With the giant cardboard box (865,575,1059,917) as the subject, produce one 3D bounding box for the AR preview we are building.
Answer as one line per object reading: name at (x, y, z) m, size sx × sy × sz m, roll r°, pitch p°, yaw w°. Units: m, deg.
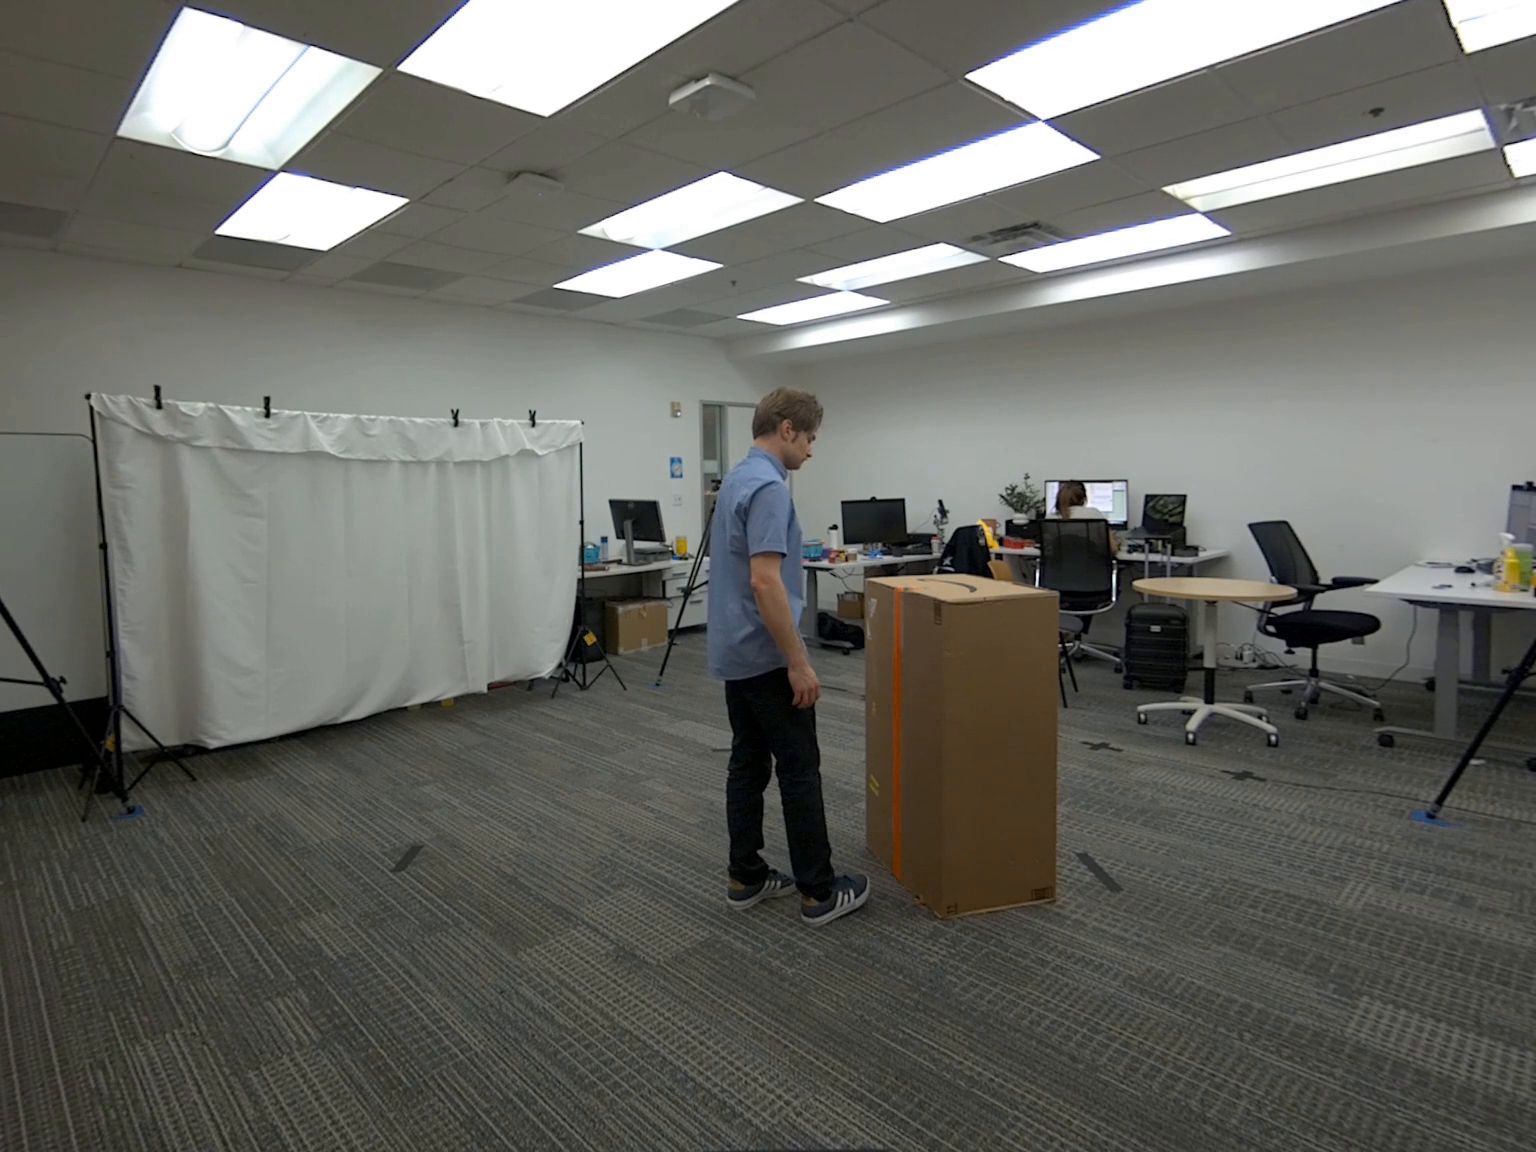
giant cardboard box at (0.653, 0.543, 2.985) m, size 0.440 × 1.023 × 0.596 m, roll -1°, pitch 5°, yaw -18°
